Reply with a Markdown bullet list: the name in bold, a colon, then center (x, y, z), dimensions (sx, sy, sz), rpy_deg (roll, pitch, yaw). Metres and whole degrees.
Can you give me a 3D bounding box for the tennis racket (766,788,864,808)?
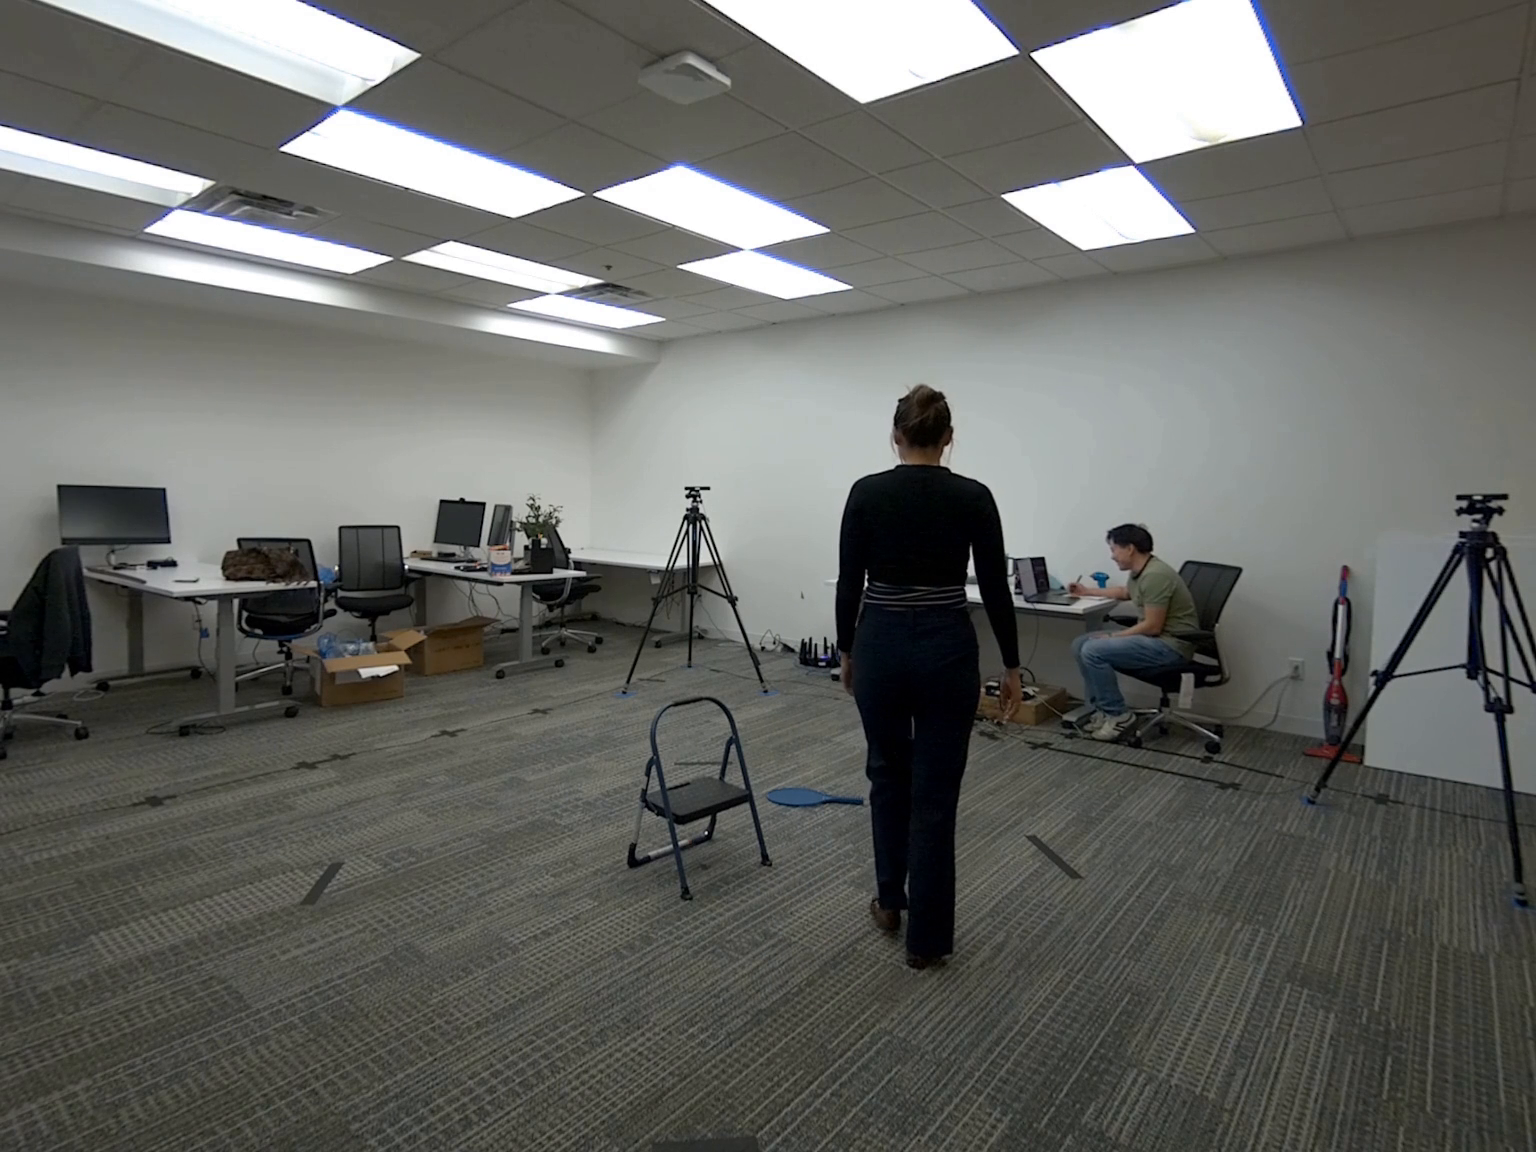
- **tennis racket**: center (0.197, 0.988, 3.812), dimensions (0.437, 0.031, 0.212), rpy_deg (1, 5, 9)
